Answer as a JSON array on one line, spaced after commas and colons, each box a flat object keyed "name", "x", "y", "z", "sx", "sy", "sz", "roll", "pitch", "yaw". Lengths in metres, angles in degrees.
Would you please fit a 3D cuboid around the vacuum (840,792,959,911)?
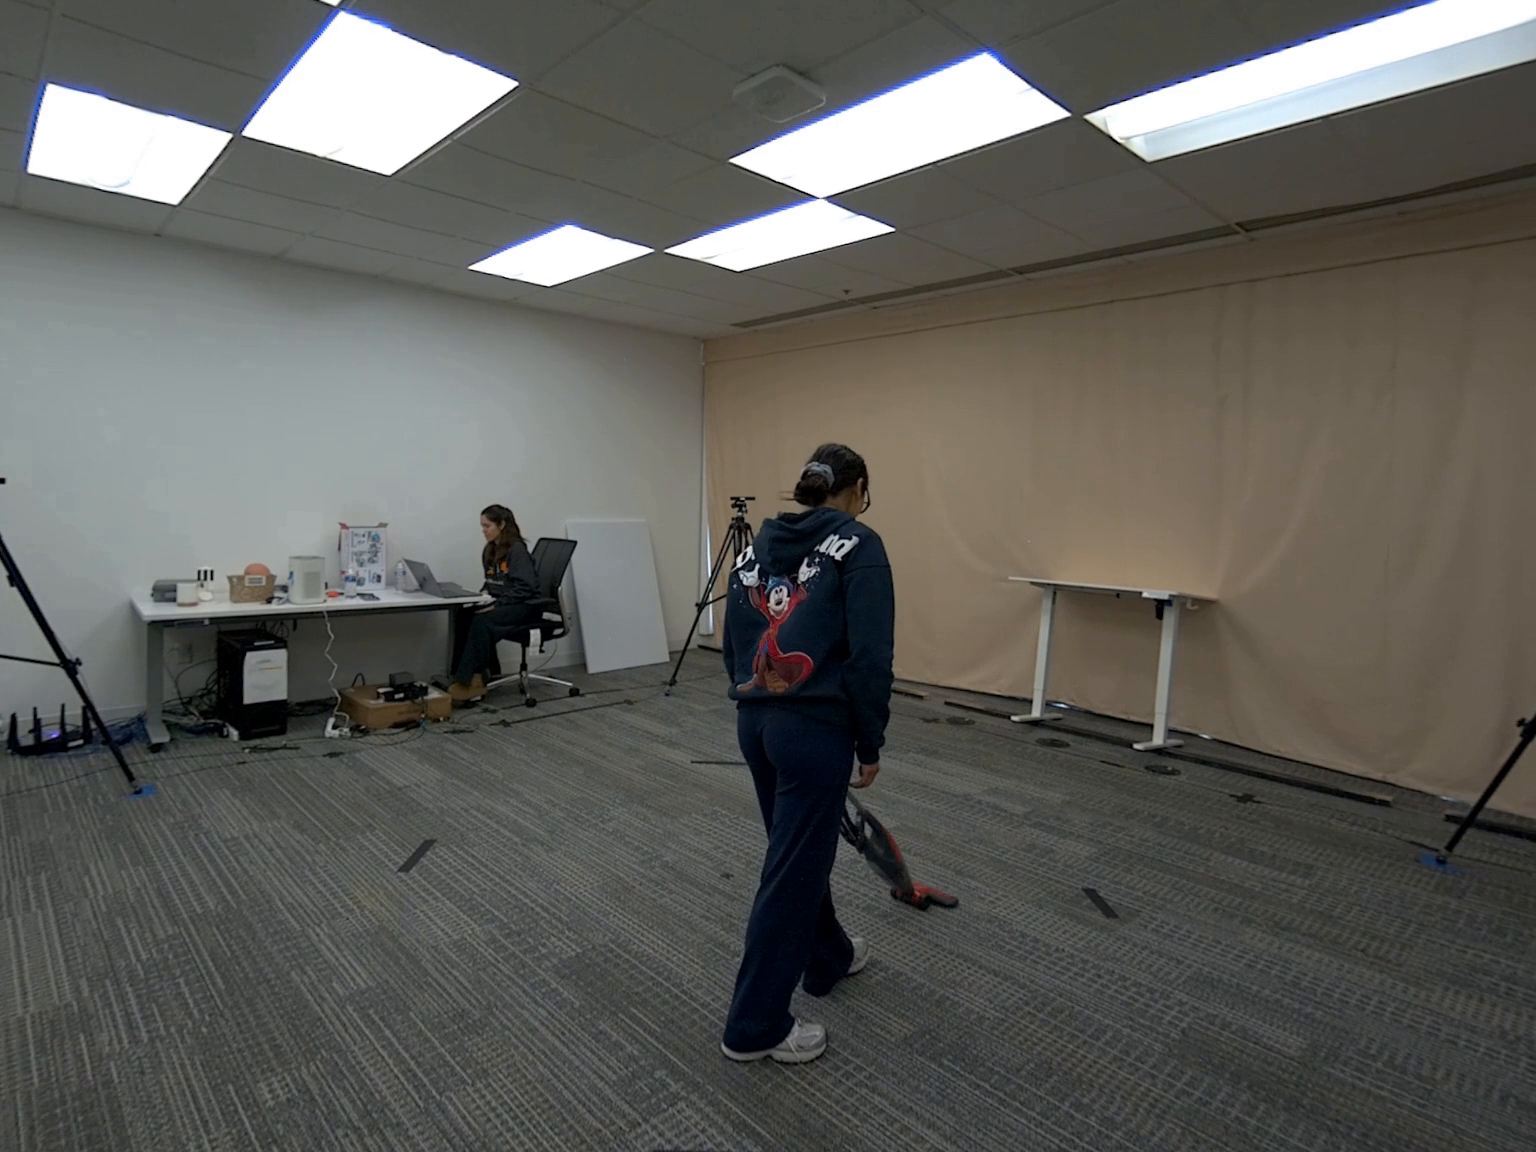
[{"name": "vacuum", "x": 0.292, "y": 0.790, "z": 2.683, "sx": 0.258, "sy": 0.145, "sz": 1.018, "roll": 2, "pitch": -41, "yaw": 39}]
